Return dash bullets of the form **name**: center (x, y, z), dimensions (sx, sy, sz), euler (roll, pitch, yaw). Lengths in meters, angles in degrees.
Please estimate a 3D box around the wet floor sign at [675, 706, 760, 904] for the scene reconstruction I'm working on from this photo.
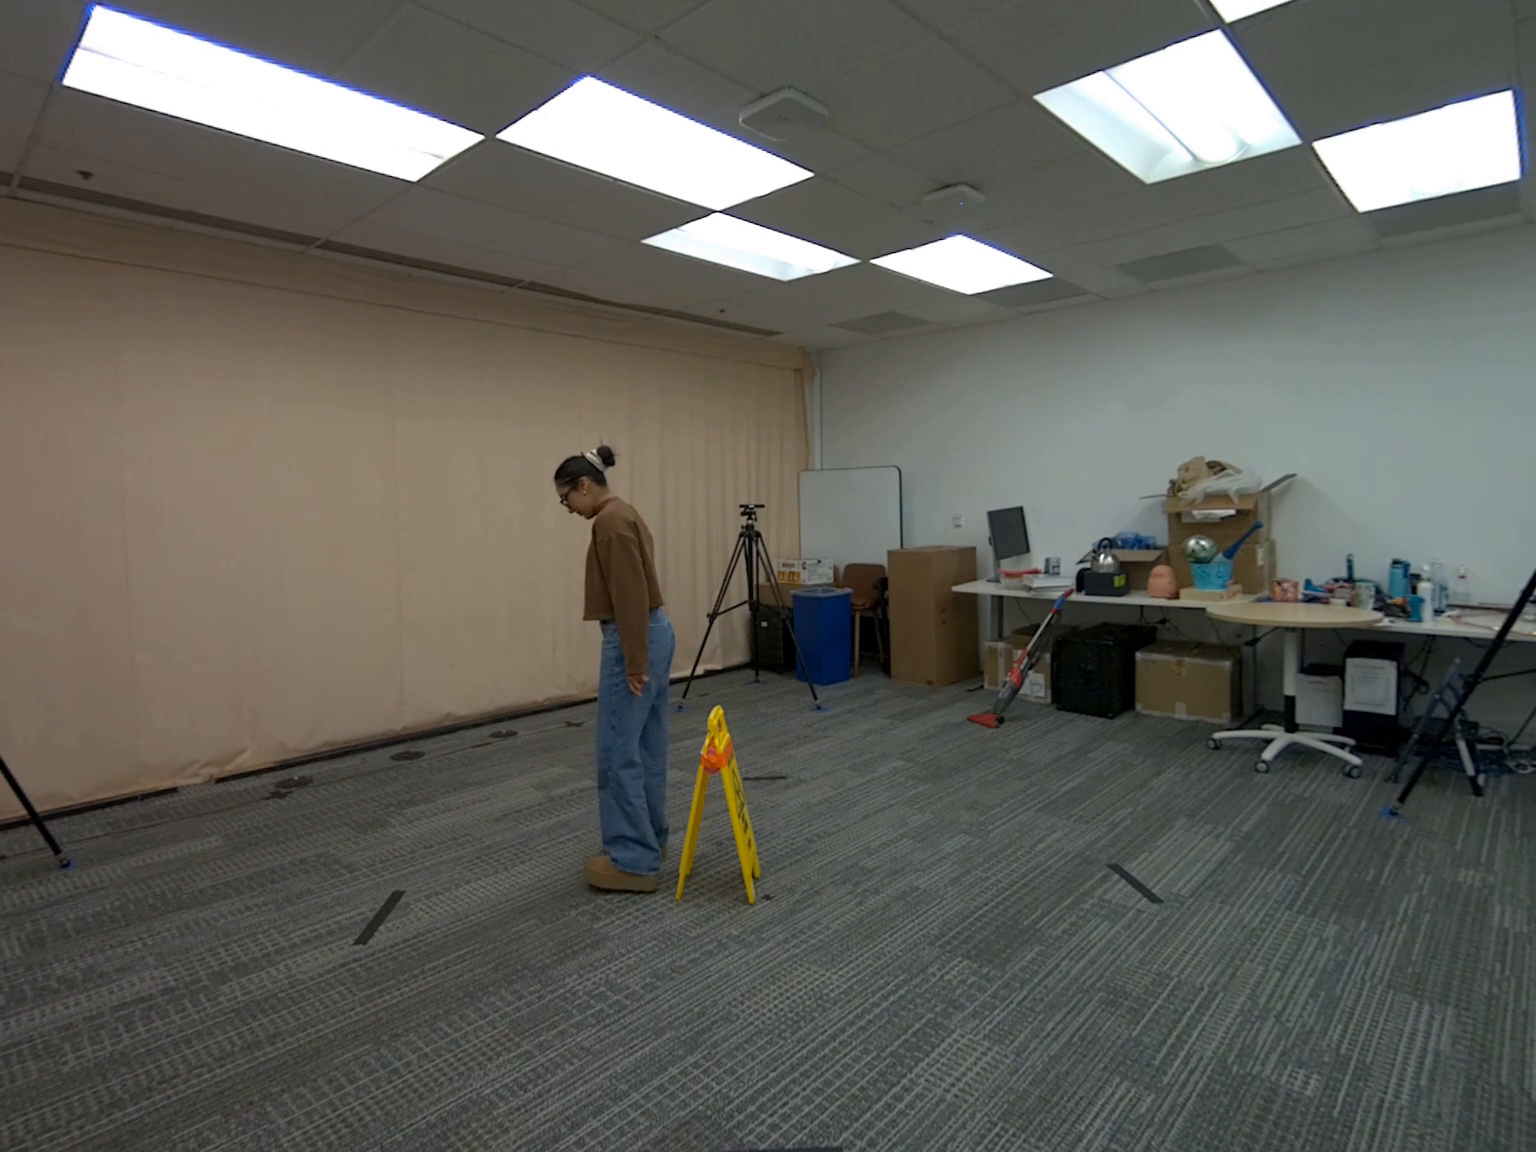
- **wet floor sign**: center (-0.184, 0.818, 3.060), dimensions (0.292, 0.645, 0.280), euler (-1, 3, 7)
